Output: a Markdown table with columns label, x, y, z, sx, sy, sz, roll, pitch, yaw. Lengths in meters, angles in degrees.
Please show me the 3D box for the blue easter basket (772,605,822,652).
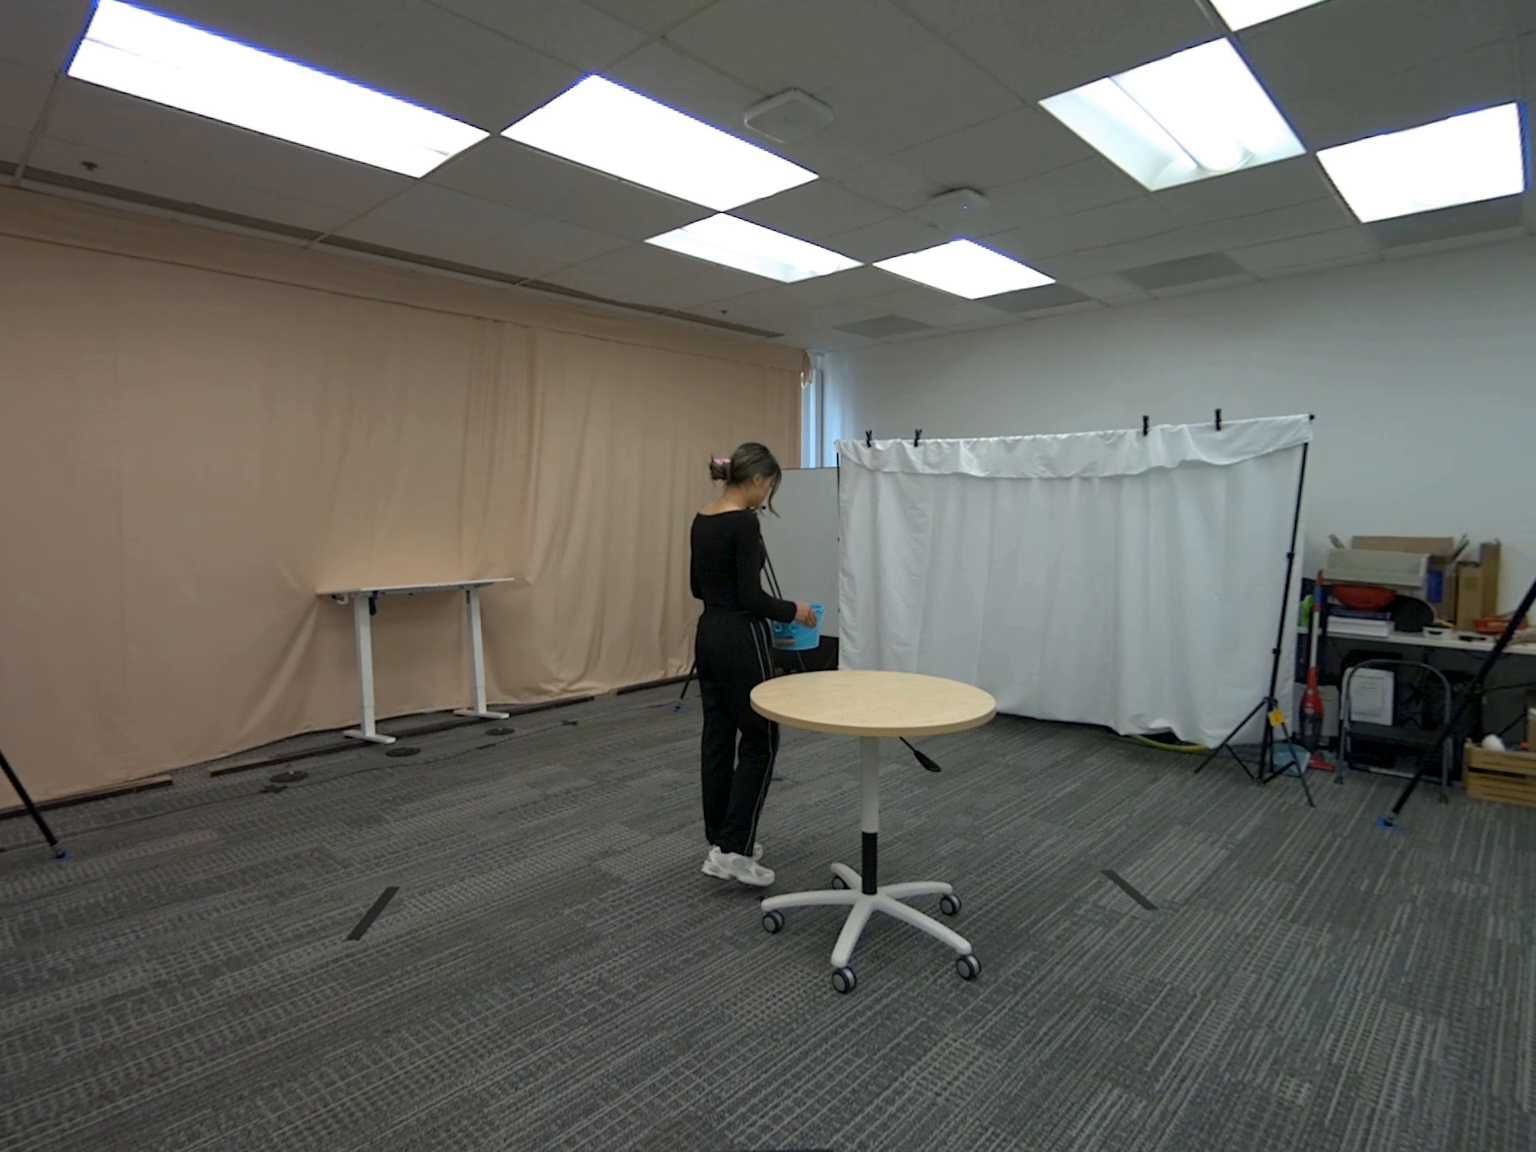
| label | x | y | z | sx | sy | sz | roll | pitch | yaw |
| --- | --- | --- | --- | --- | --- | --- | --- | --- | --- |
| blue easter basket | 0.102 | 0.211 | 3.365 | 0.243 | 0.155 | 0.244 | -2 | 4 | -2 |
